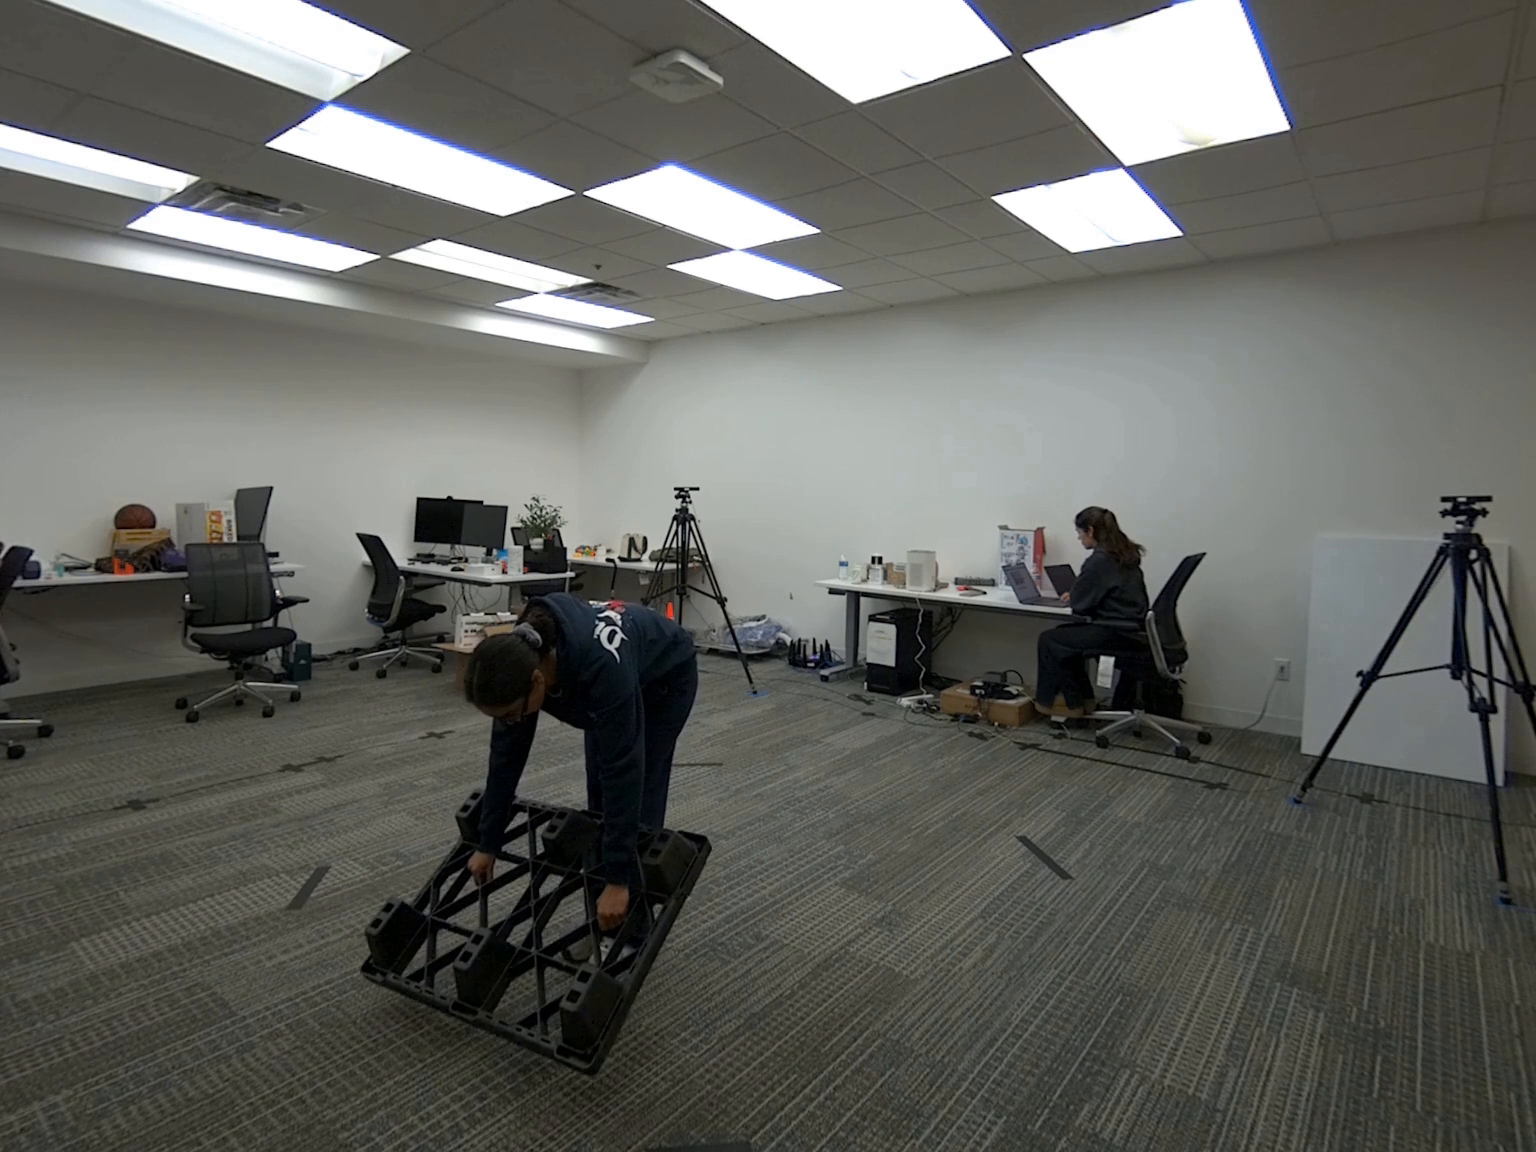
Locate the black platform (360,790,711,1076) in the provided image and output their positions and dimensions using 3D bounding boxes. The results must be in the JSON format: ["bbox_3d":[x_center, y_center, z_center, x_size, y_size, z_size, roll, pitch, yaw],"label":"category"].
[{"bbox_3d":[-0.626,0.840,2.207,0.828,0.138,0.609,0,39,30],"label":"black platform"}]
